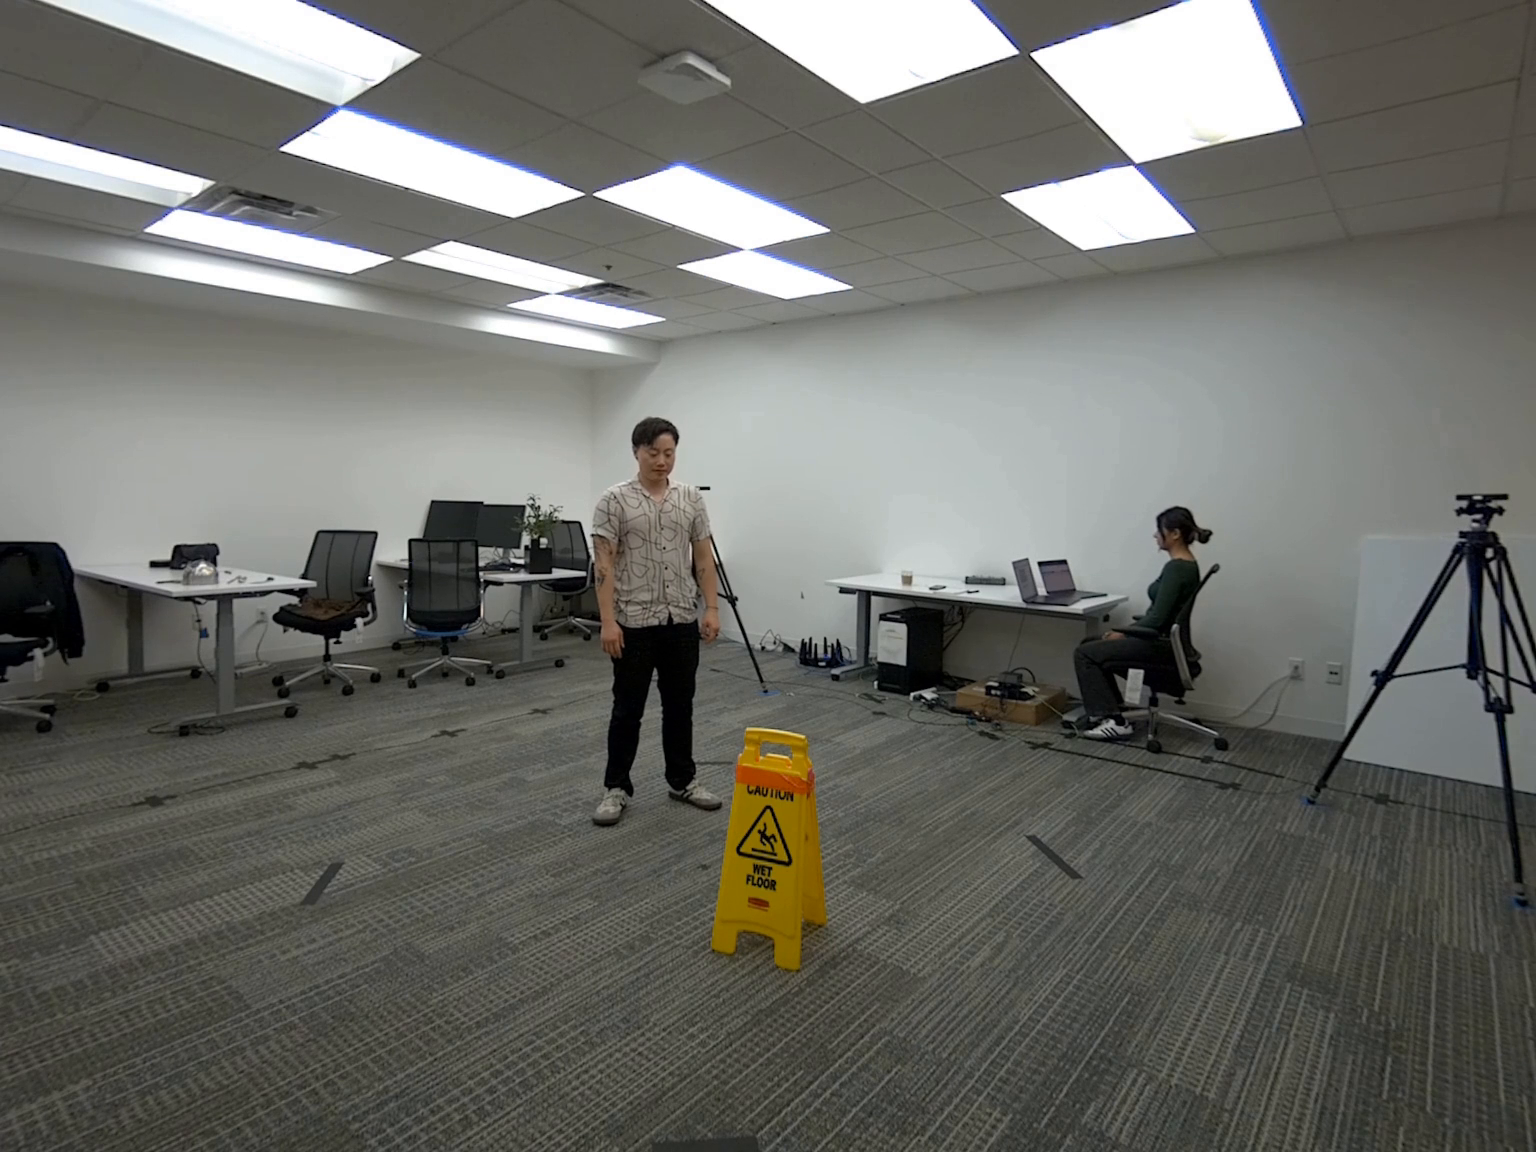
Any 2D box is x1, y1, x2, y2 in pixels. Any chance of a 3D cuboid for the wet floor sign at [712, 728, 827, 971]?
[{"bbox_3d":[0.010,0.793,2.624,0.289,0.644,0.283,3,3,22],"label":"wet floor sign"}]
